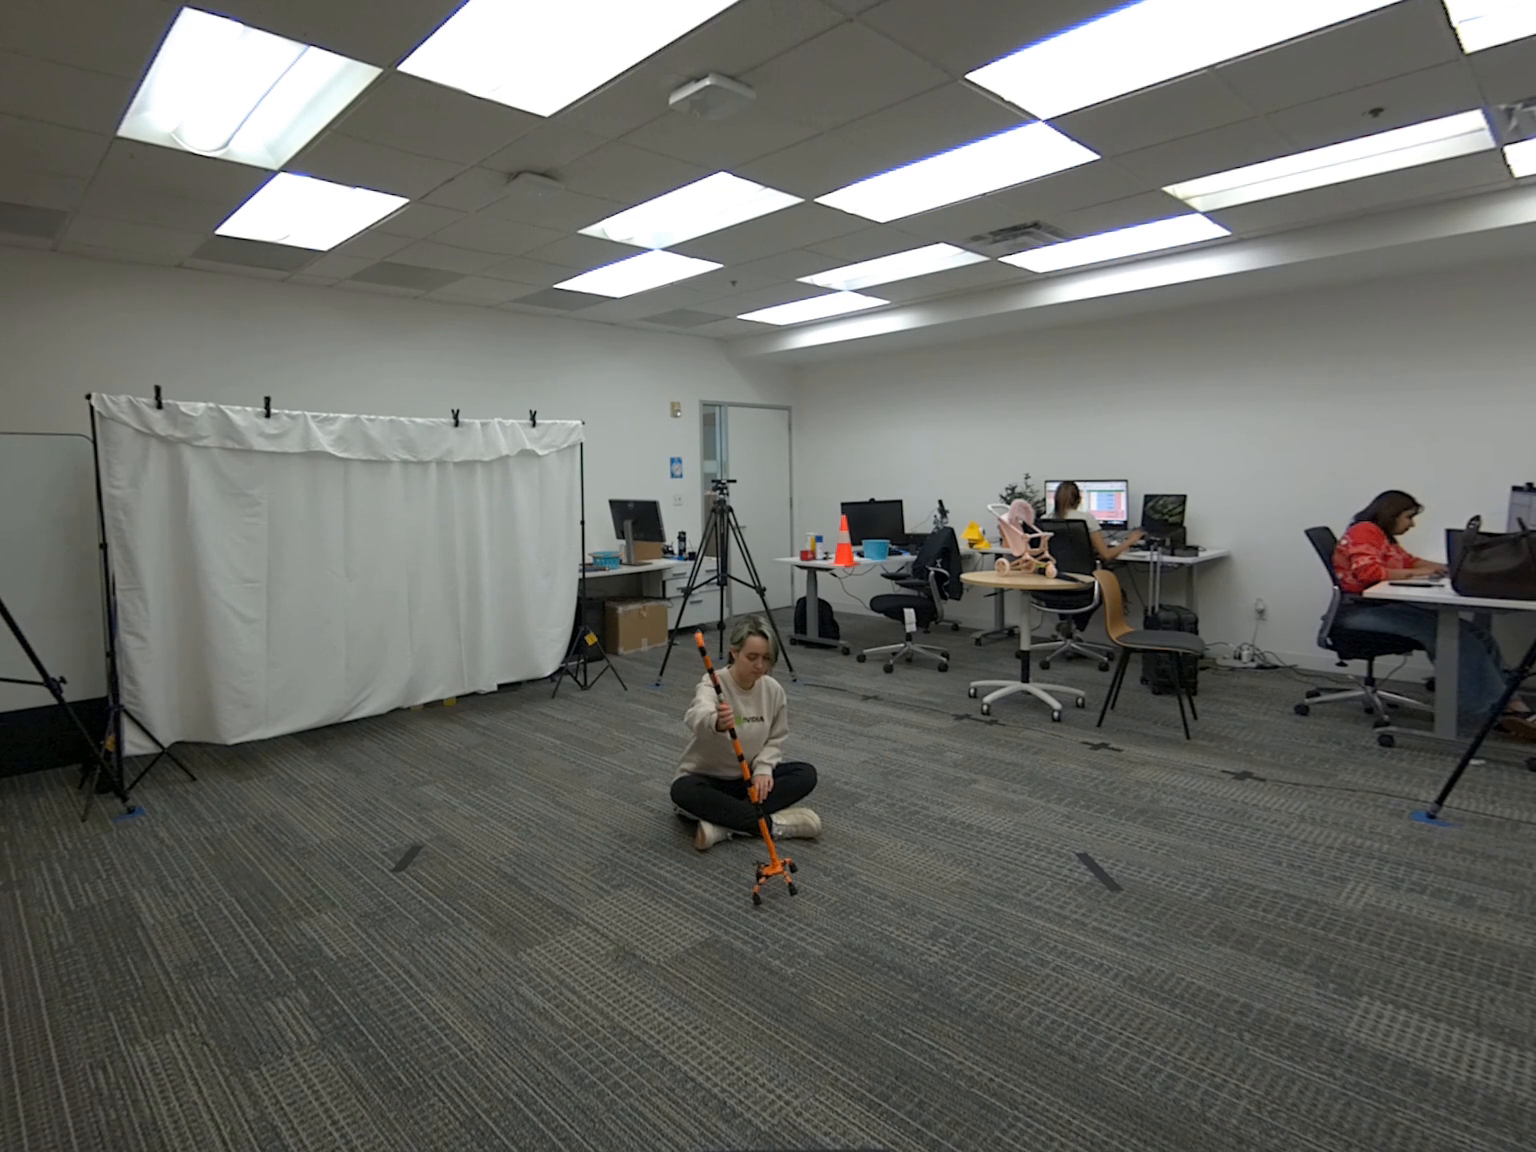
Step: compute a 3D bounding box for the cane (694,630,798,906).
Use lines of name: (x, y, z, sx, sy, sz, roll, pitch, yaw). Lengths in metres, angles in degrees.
cane: (-0.107, 0.613, 2.870, 0.152, 0.908, 0.206, -15, 0, 4)
